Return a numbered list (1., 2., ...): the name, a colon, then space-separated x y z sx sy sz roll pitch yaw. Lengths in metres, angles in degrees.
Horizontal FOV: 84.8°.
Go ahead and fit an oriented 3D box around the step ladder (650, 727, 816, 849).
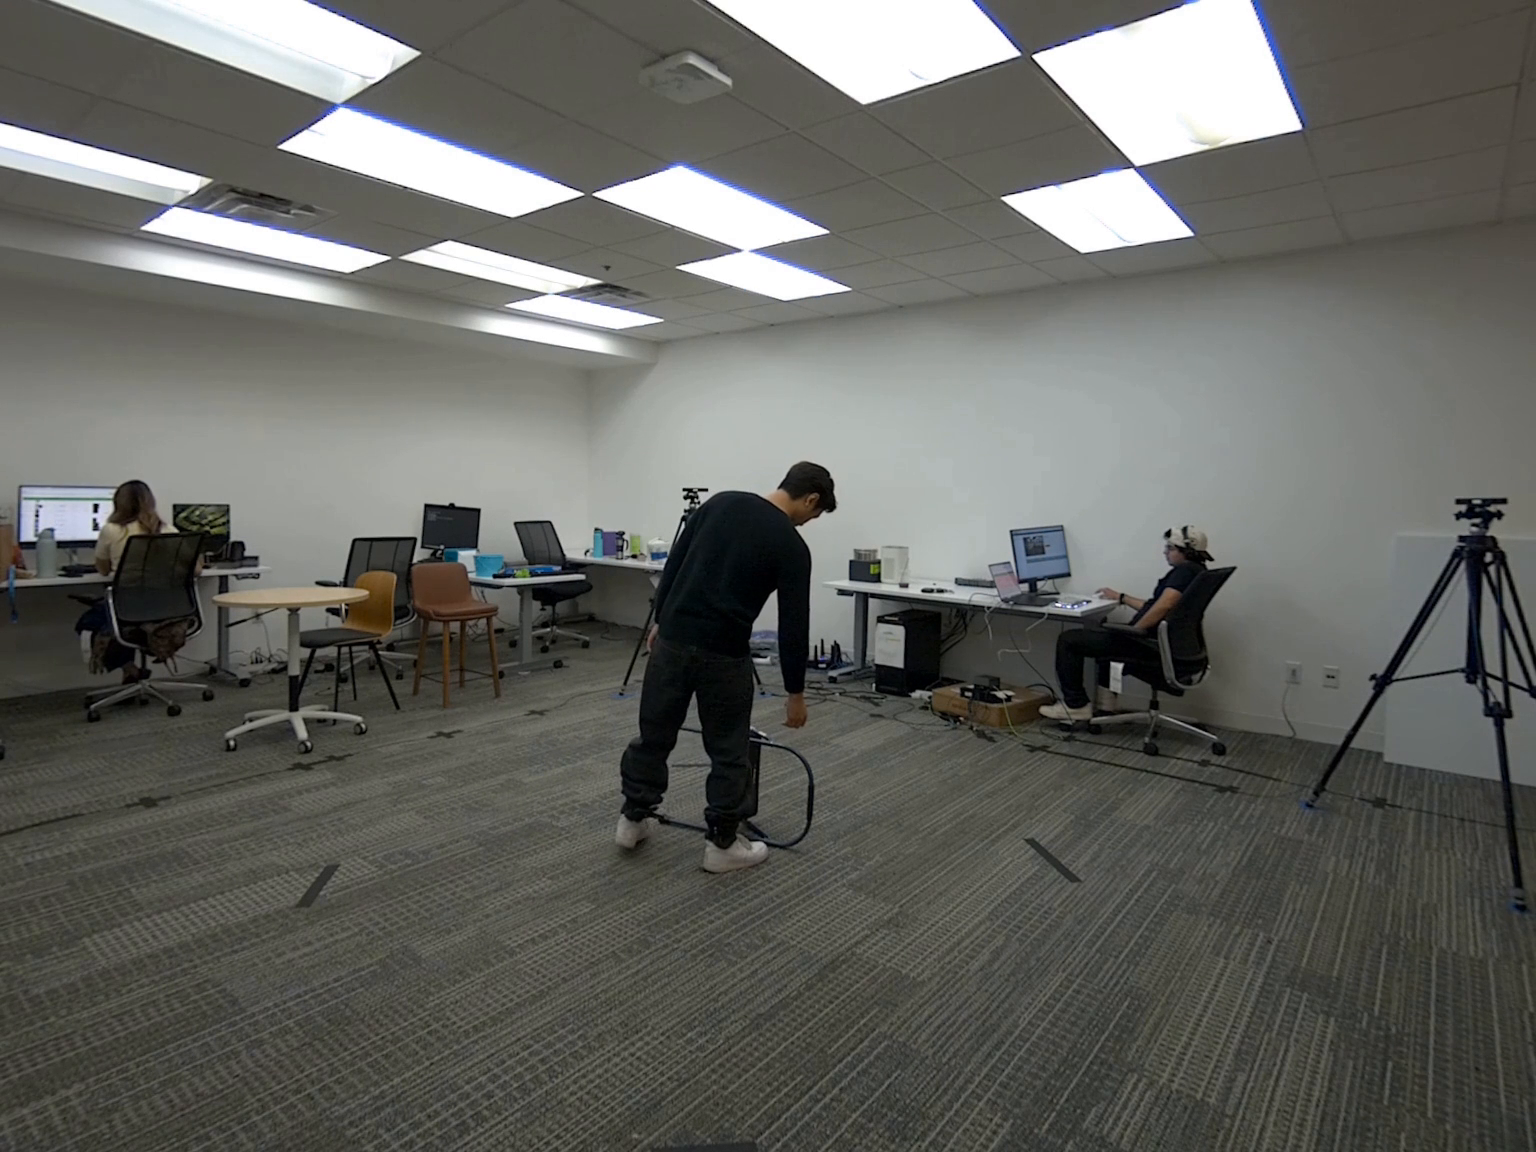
1. step ladder: -0.114 0.832 3.420 0.627 0.429 0.338 8 7 44
